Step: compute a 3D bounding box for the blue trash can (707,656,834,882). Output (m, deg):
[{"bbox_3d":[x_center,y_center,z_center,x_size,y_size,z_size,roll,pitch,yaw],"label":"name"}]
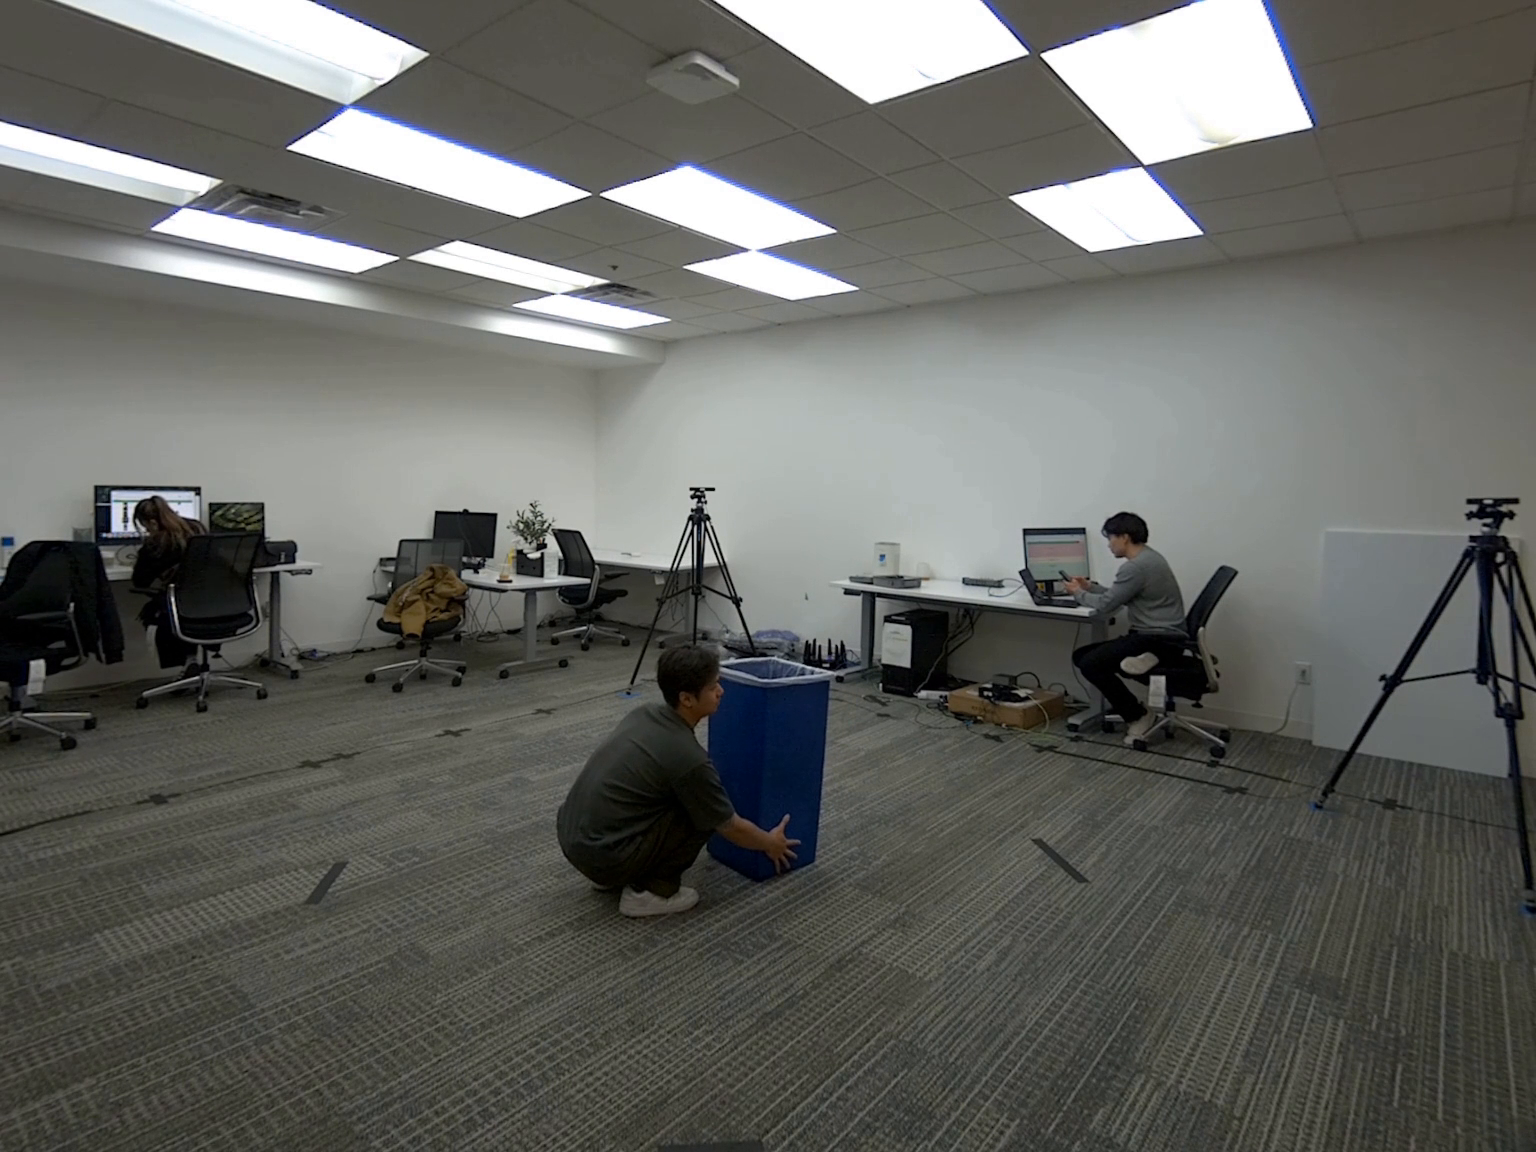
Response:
[{"bbox_3d":[-0.028,0.696,3.204,0.366,0.712,0.387,1,3,-41],"label":"blue trash can"}]
